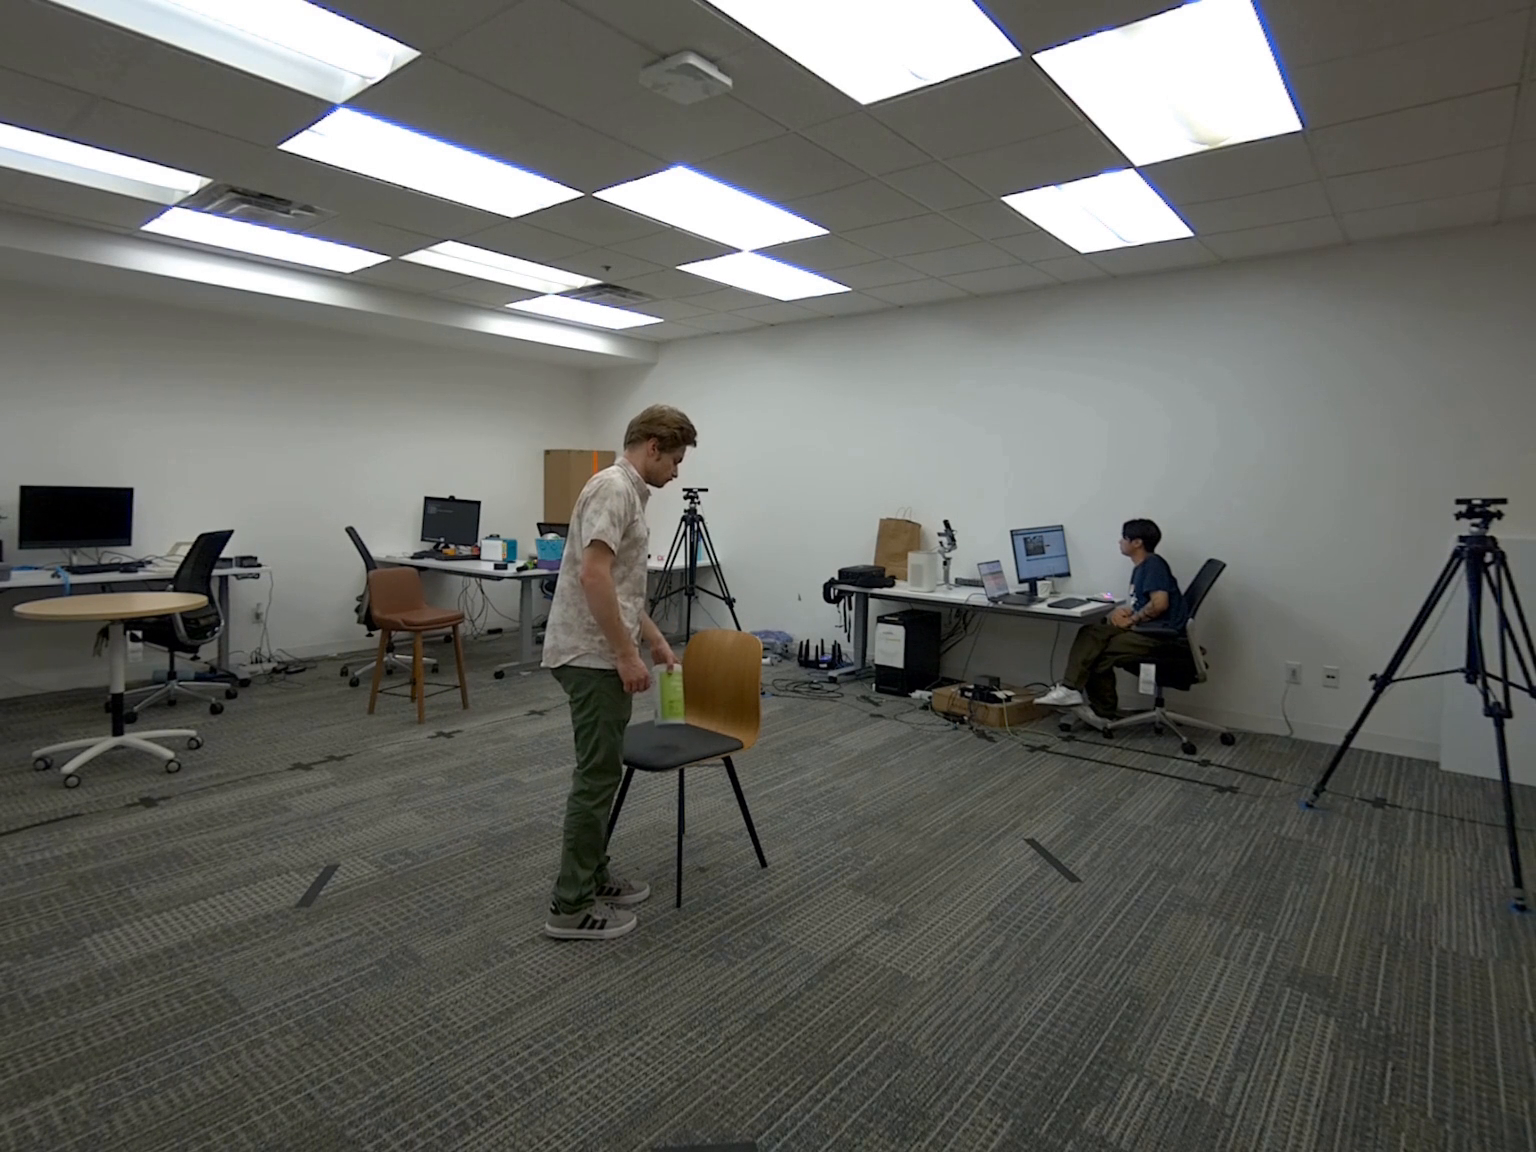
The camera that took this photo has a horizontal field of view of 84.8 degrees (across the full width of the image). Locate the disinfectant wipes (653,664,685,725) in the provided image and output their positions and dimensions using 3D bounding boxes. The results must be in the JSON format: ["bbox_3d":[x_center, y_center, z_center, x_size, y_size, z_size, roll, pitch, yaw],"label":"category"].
[{"bbox_3d":[-0.368,0.428,3.031,0.117,0.221,0.116,-4,-17,-3],"label":"disinfectant wipes"}]
